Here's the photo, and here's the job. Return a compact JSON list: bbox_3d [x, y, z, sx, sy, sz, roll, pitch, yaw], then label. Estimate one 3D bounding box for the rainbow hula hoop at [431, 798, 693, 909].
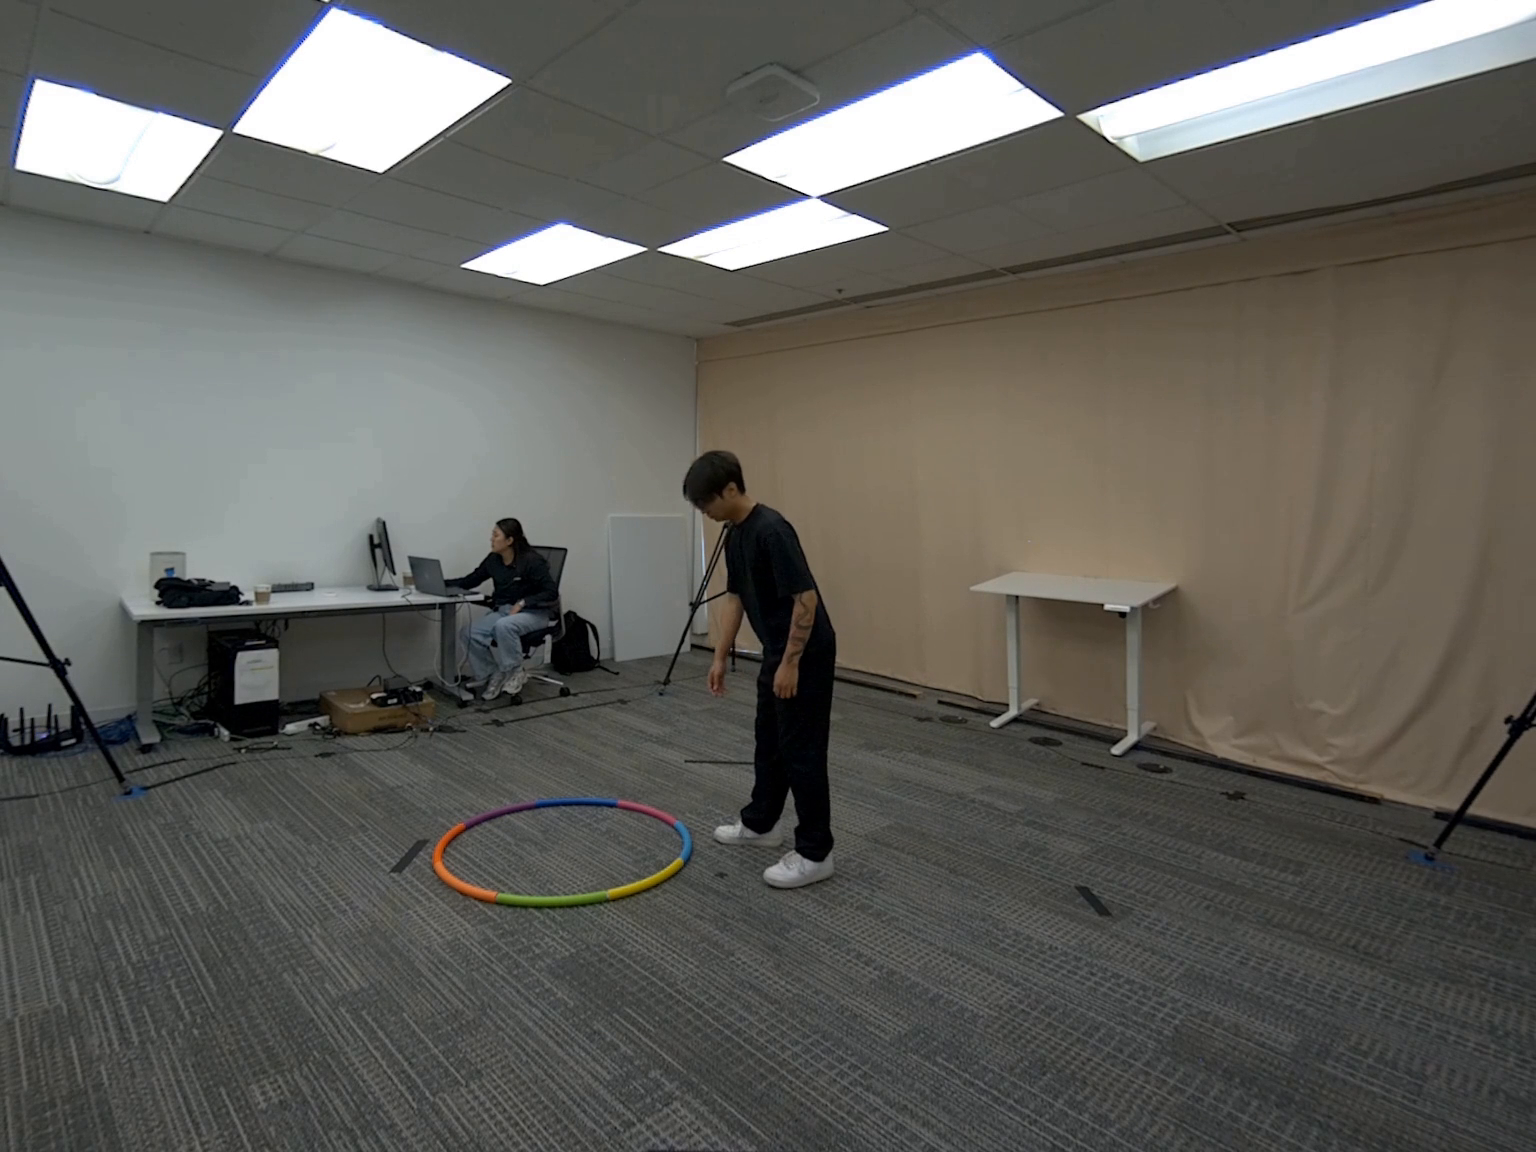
[{"bbox_3d":[-0.795,1.044,3.303,0.978,0.035,0.982,1,5,-1],"label":"rainbow hula hoop"}]
